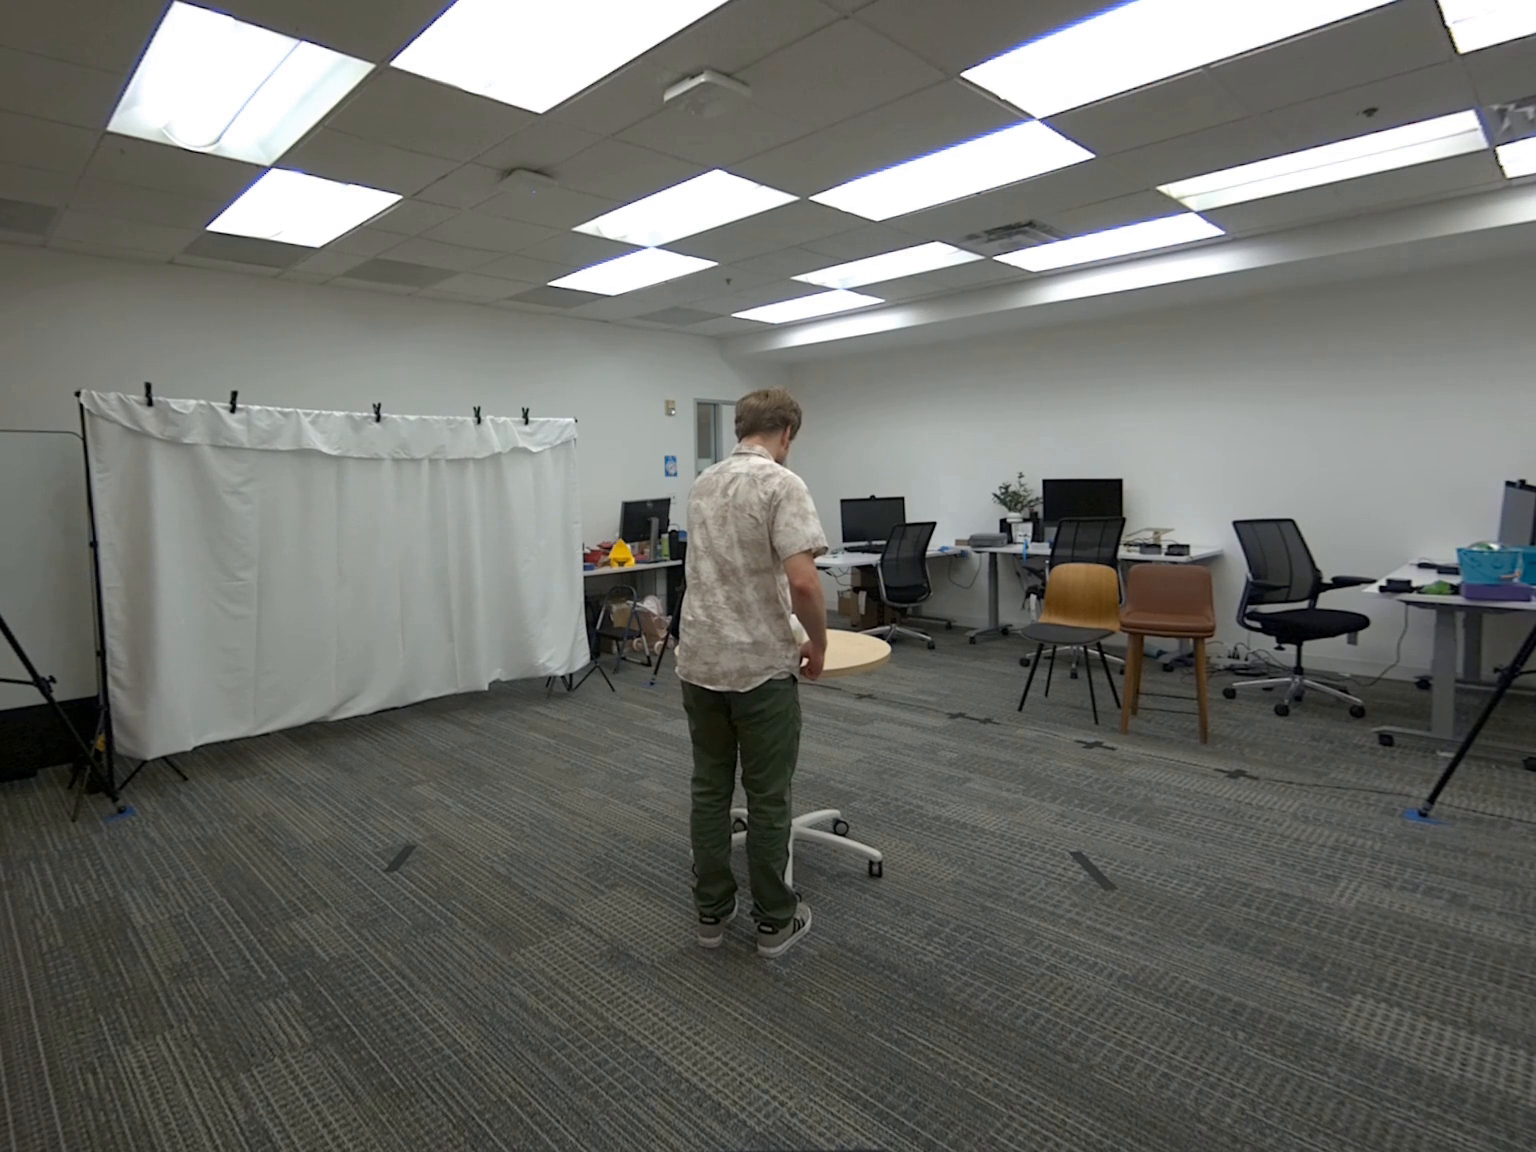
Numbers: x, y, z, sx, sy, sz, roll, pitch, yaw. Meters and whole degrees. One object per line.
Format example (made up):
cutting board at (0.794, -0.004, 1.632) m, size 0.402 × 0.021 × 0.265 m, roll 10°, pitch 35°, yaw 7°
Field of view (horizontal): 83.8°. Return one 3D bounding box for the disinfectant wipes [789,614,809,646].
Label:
disinfectant wipes at (0.038, 0.198, 3.097) m, size 0.218 × 0.117 × 0.118 m, roll 0°, pitch 5°, yaw 1°
